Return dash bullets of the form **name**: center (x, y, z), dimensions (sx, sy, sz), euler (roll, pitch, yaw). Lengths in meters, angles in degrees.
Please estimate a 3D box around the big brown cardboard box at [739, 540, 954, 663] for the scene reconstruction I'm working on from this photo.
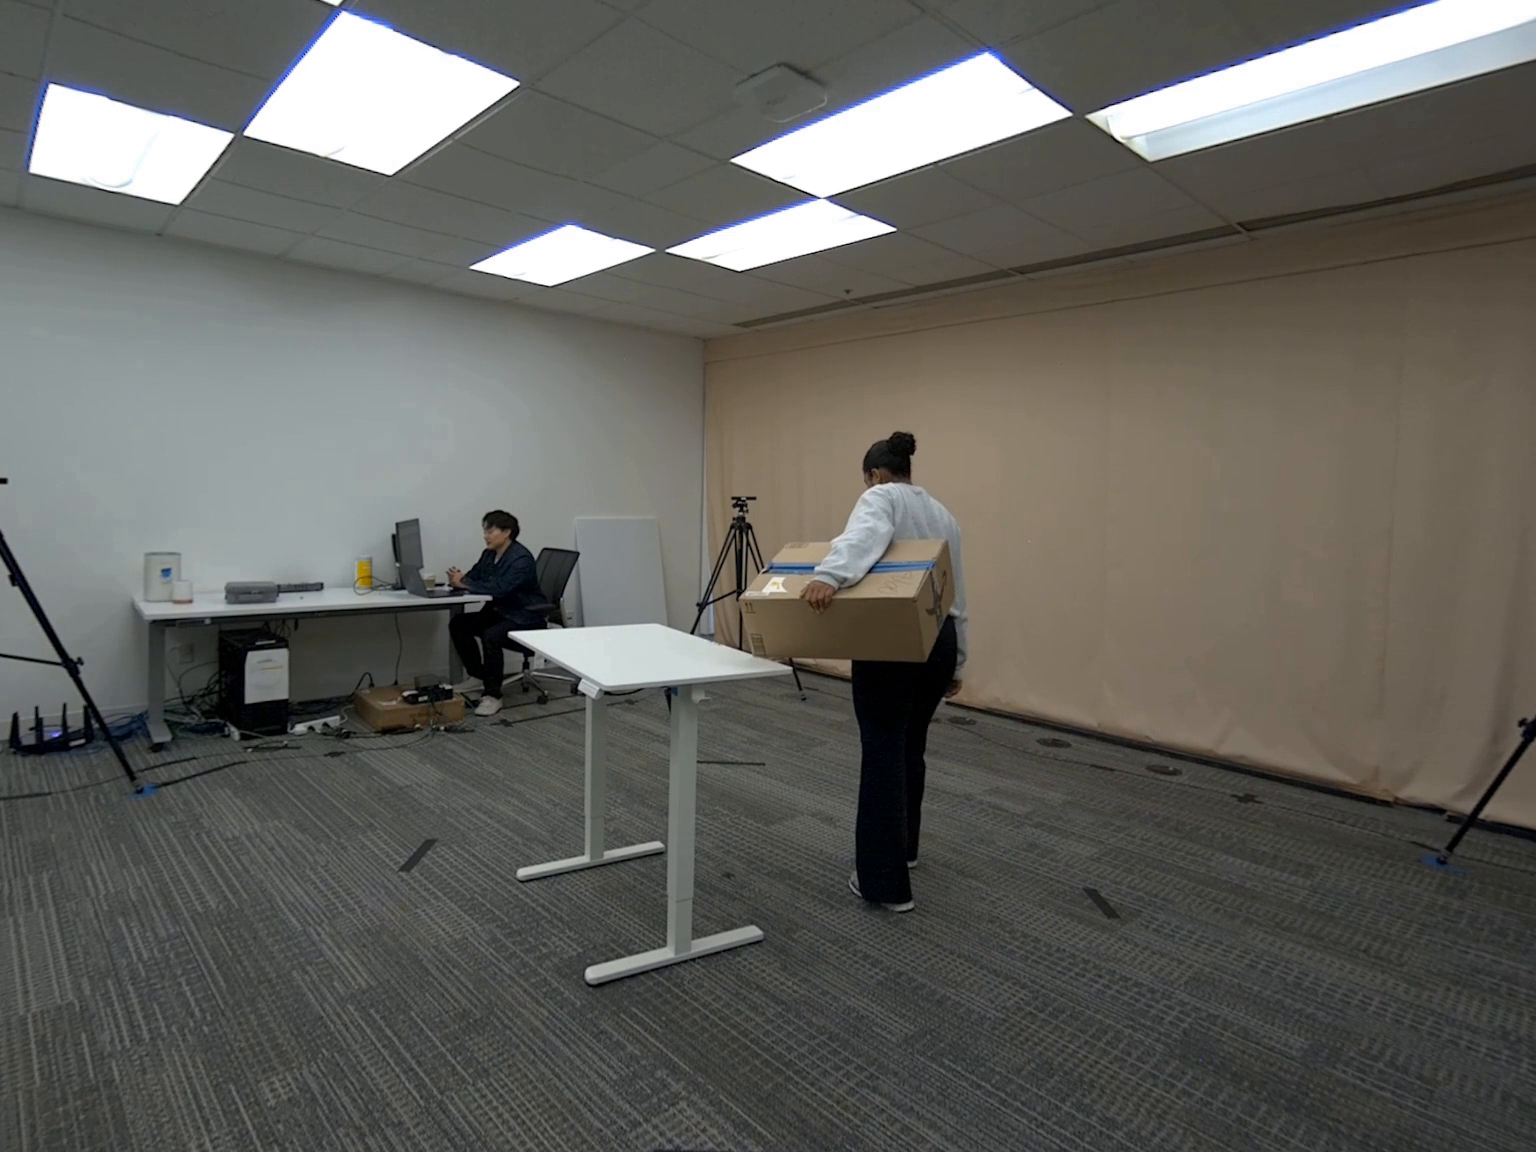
- **big brown cardboard box**: center (0.260, 0.071, 2.708), dimensions (0.600, 0.229, 0.417), euler (0, 26, 26)
